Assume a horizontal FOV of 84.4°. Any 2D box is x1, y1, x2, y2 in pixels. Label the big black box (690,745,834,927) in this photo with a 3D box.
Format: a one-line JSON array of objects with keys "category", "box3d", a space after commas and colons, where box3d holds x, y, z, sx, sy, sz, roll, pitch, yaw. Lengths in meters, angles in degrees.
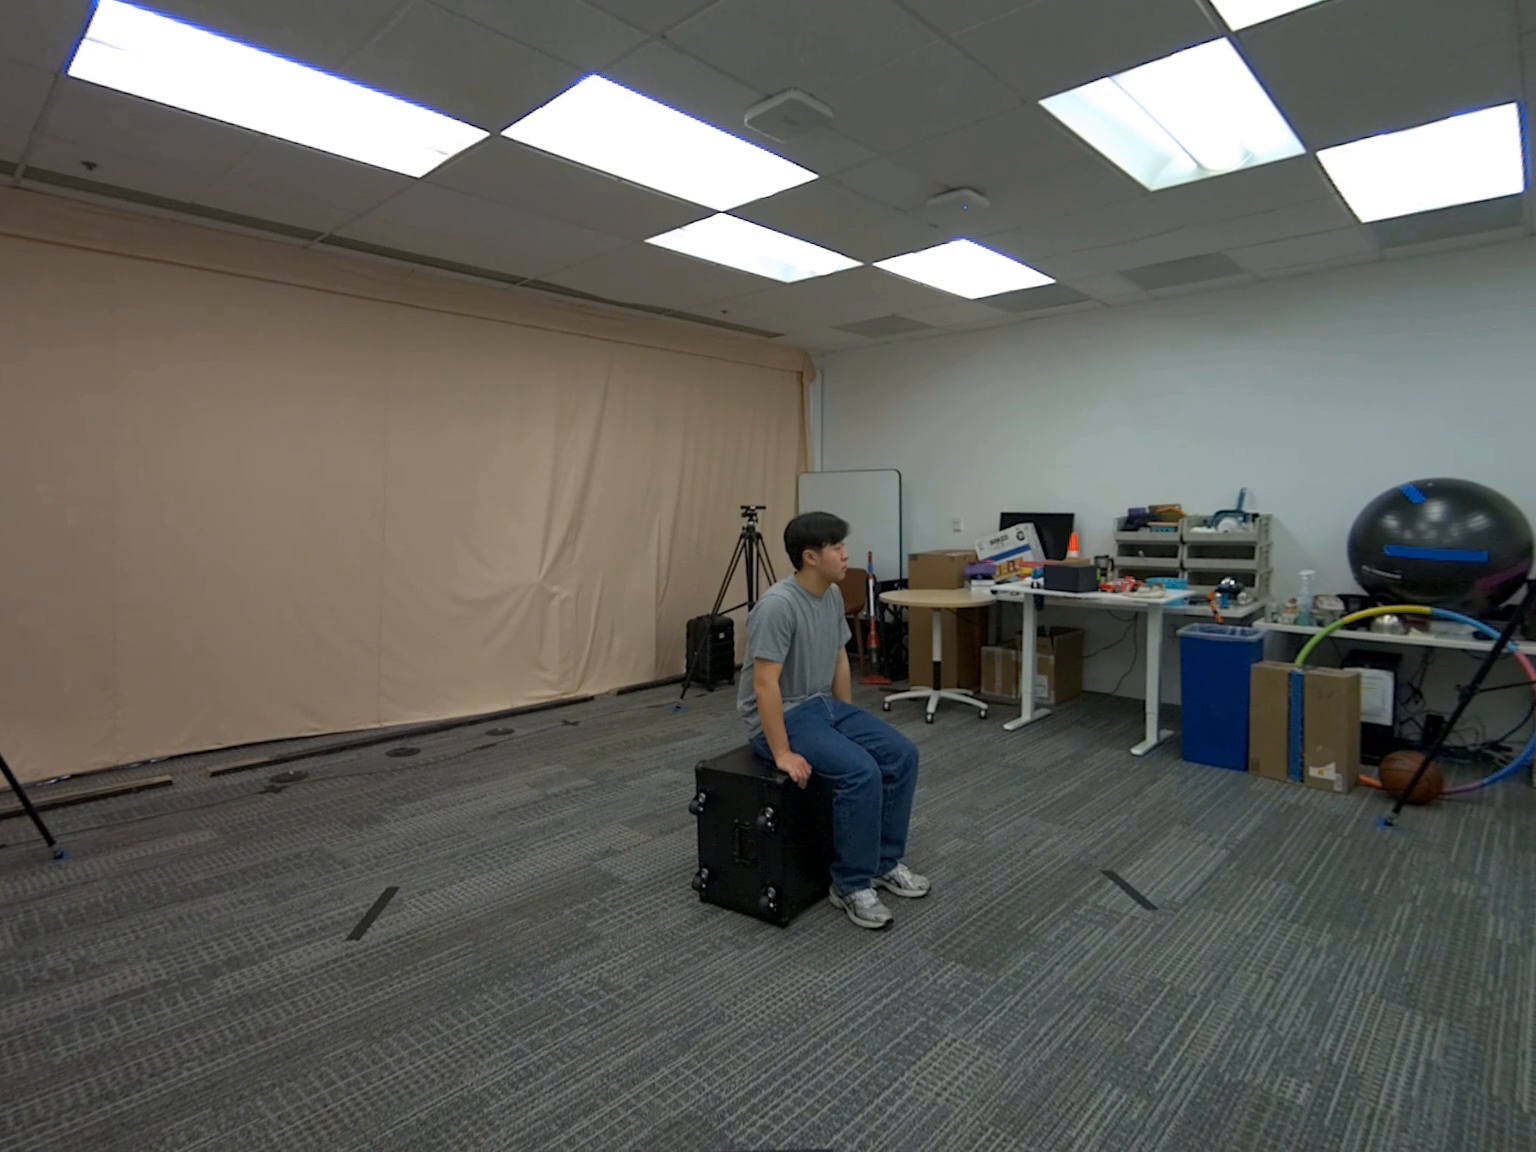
[{"category": "big black box", "box3d": [0.084, 0.877, 3.148, 0.408, 0.520, 0.837, 0, 4, 33]}]
